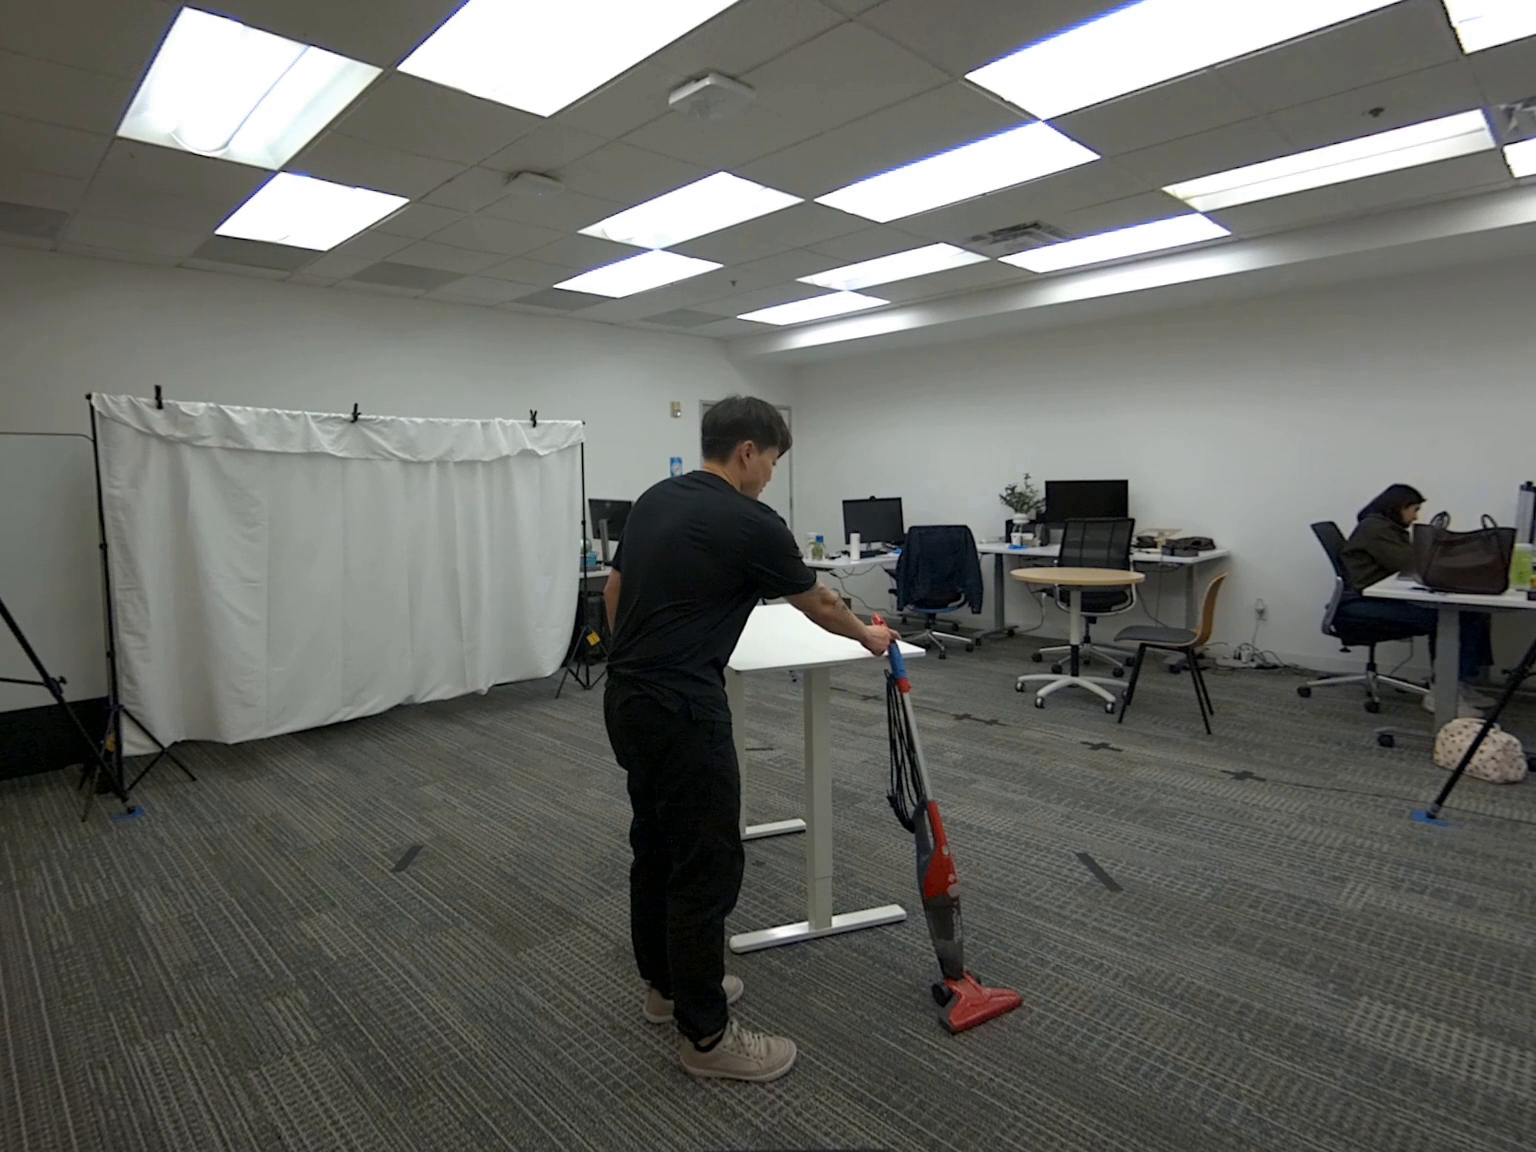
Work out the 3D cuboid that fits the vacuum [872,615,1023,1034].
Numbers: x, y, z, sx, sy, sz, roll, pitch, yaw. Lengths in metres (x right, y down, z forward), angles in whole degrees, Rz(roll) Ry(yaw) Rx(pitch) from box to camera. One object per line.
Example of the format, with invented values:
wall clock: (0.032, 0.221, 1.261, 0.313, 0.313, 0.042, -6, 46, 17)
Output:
vacuum: (0.435, 0.637, 2.388, 0.246, 1.067, 0.145, -2, -18, -32)
